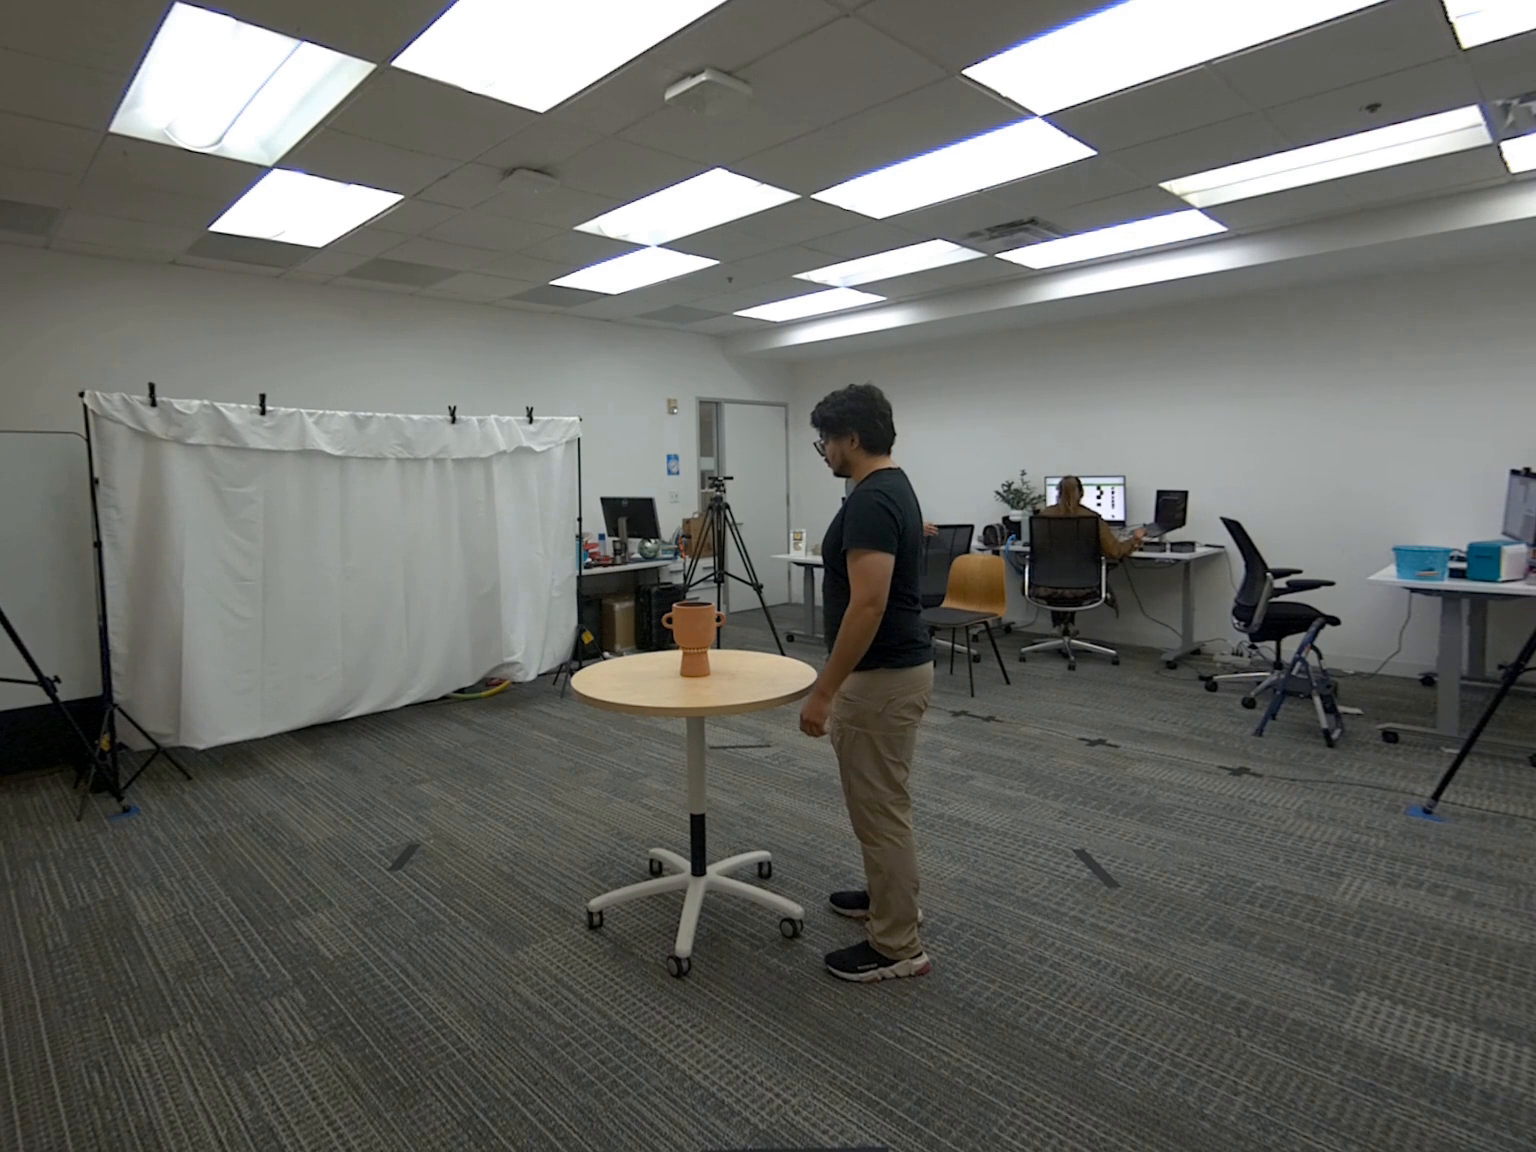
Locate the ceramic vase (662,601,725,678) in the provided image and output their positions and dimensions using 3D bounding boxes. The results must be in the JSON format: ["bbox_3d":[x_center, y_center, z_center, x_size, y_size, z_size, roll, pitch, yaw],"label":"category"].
[{"bbox_3d":[-0.222,0.197,2.673,0.163,0.219,0.131,0,4,36],"label":"ceramic vase"}]
